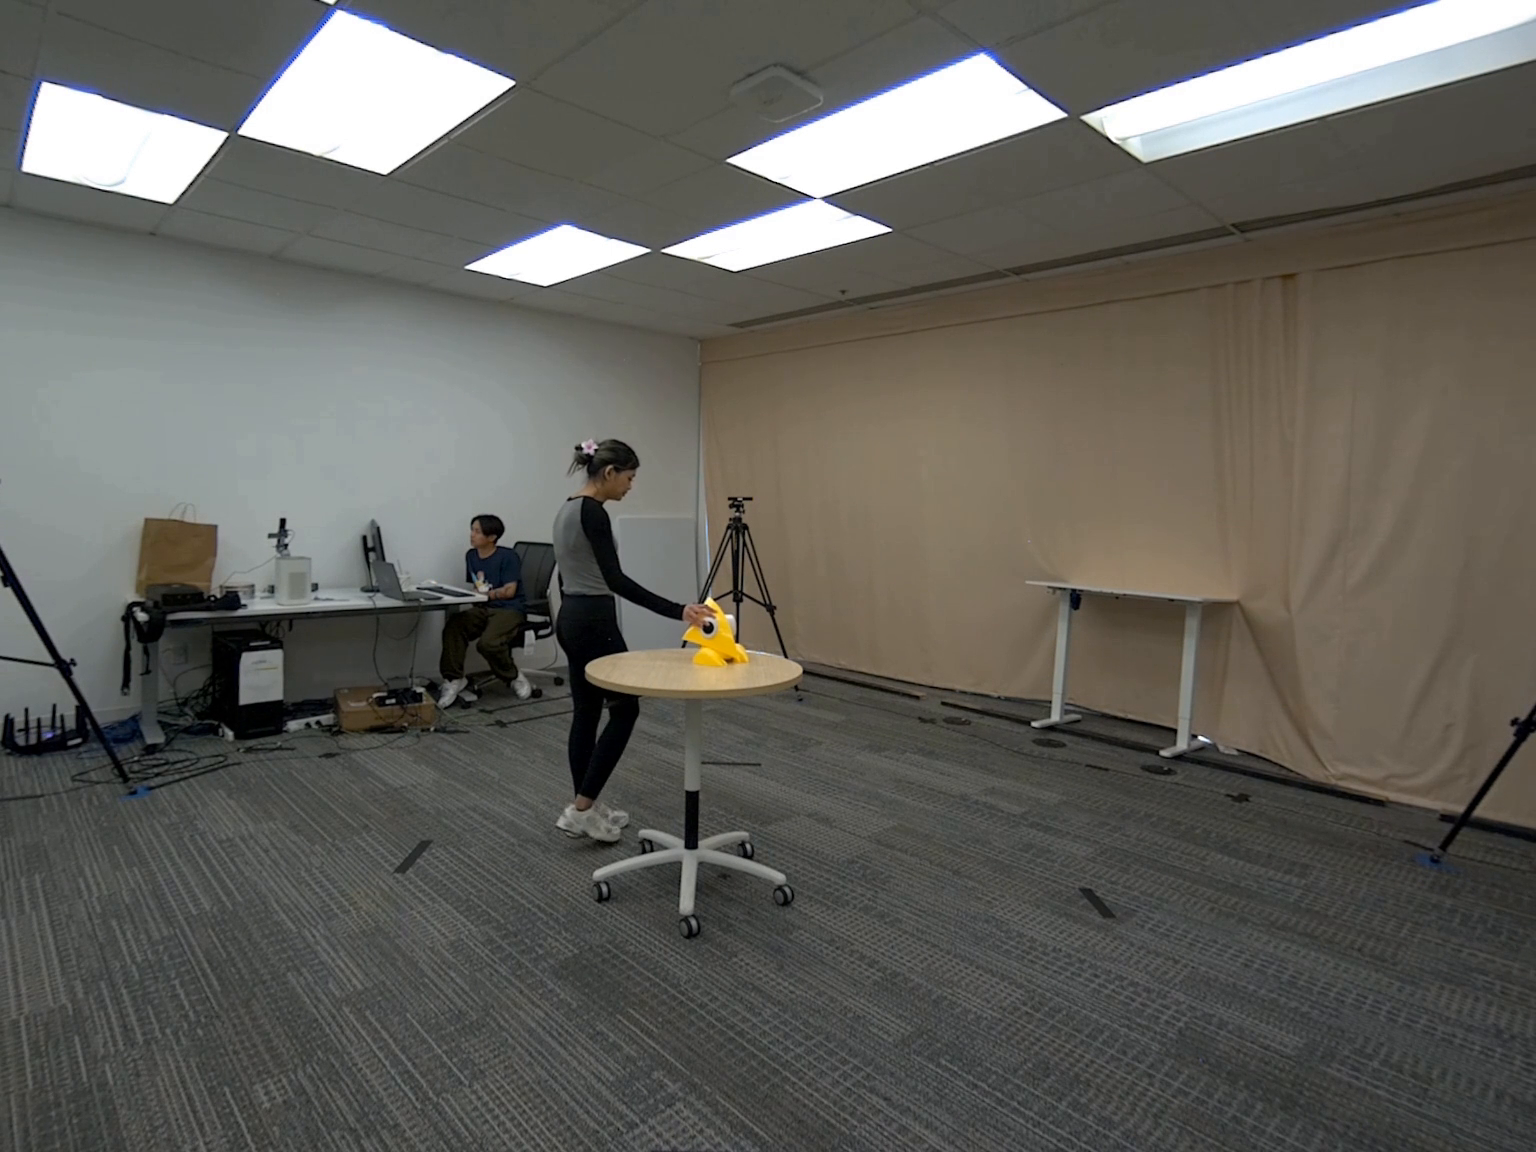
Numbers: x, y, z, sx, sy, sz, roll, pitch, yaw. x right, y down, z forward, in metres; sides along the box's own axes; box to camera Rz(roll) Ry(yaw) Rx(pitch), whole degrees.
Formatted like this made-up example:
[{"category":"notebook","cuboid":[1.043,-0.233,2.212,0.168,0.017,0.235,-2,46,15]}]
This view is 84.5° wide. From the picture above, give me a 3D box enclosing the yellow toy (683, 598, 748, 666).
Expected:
[{"category":"yellow toy","cuboid":[-0.191,0.199,3.102,0.200,0.230,0.198,-2,5,-44]}]
